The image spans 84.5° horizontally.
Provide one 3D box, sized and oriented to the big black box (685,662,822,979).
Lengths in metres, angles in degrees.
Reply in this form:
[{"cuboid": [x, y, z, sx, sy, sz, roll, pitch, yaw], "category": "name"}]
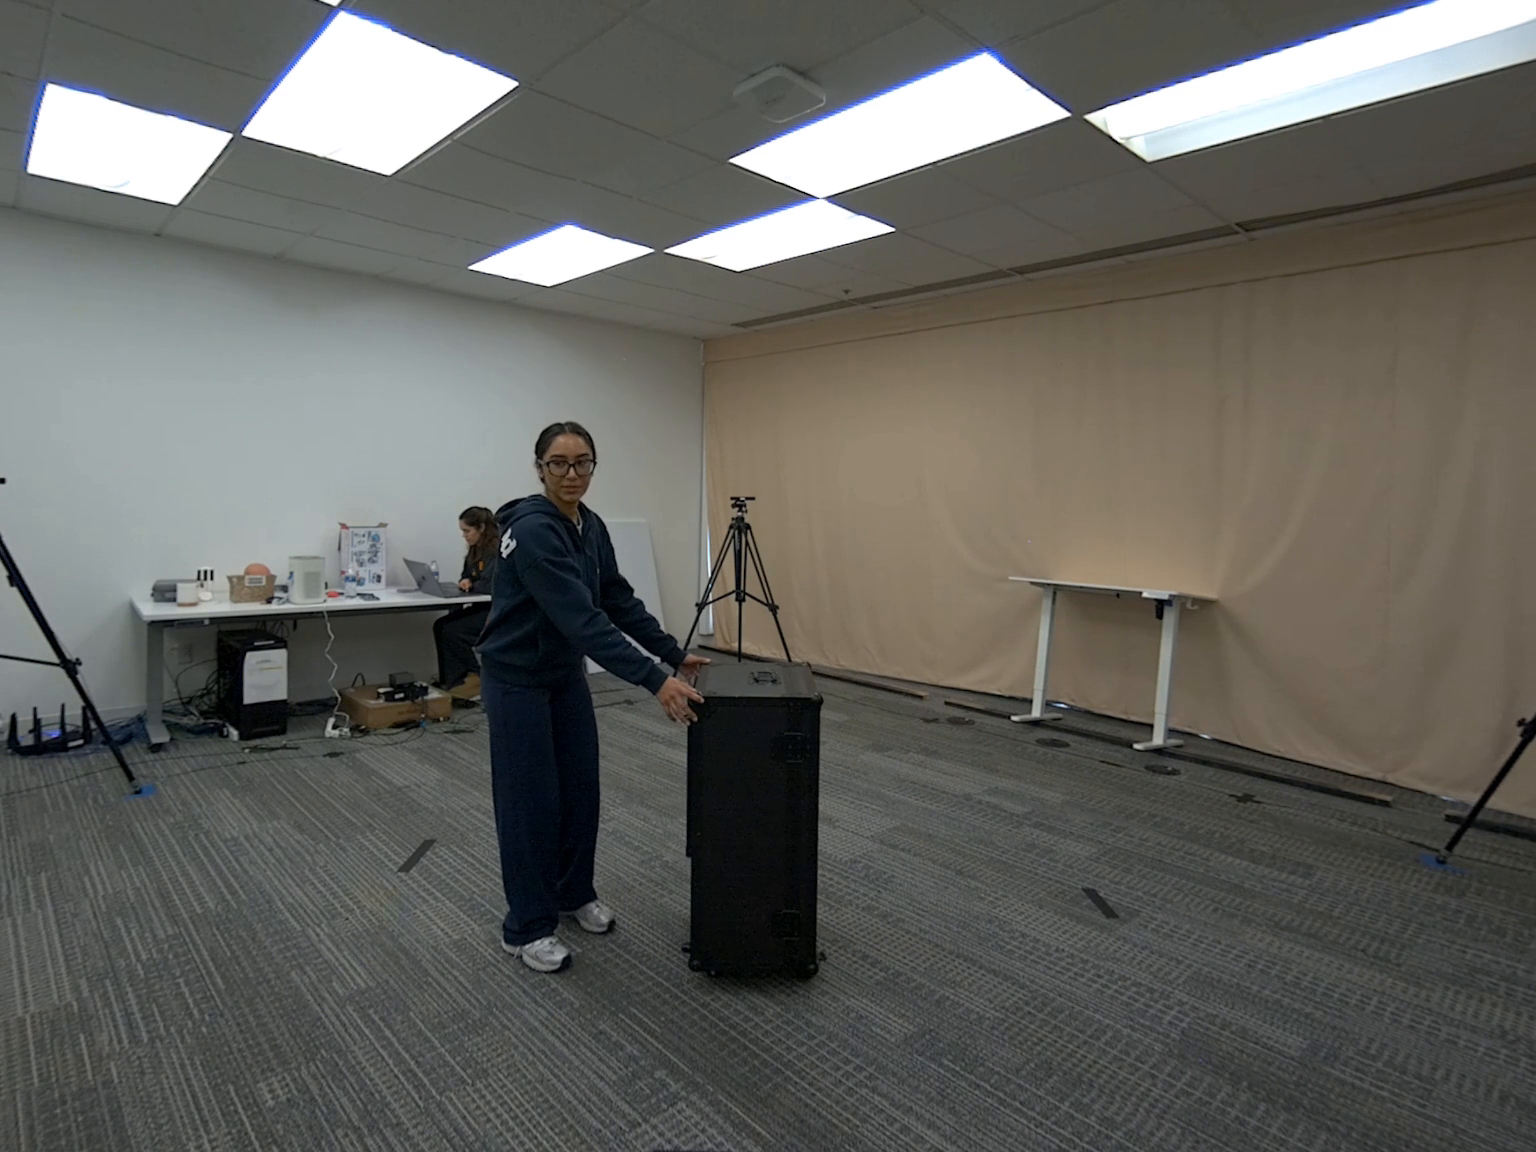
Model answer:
[{"cuboid": [-0.060, 0.737, 2.556, 0.396, 0.858, 0.523, -1, 5, -1], "category": "big black box"}]
